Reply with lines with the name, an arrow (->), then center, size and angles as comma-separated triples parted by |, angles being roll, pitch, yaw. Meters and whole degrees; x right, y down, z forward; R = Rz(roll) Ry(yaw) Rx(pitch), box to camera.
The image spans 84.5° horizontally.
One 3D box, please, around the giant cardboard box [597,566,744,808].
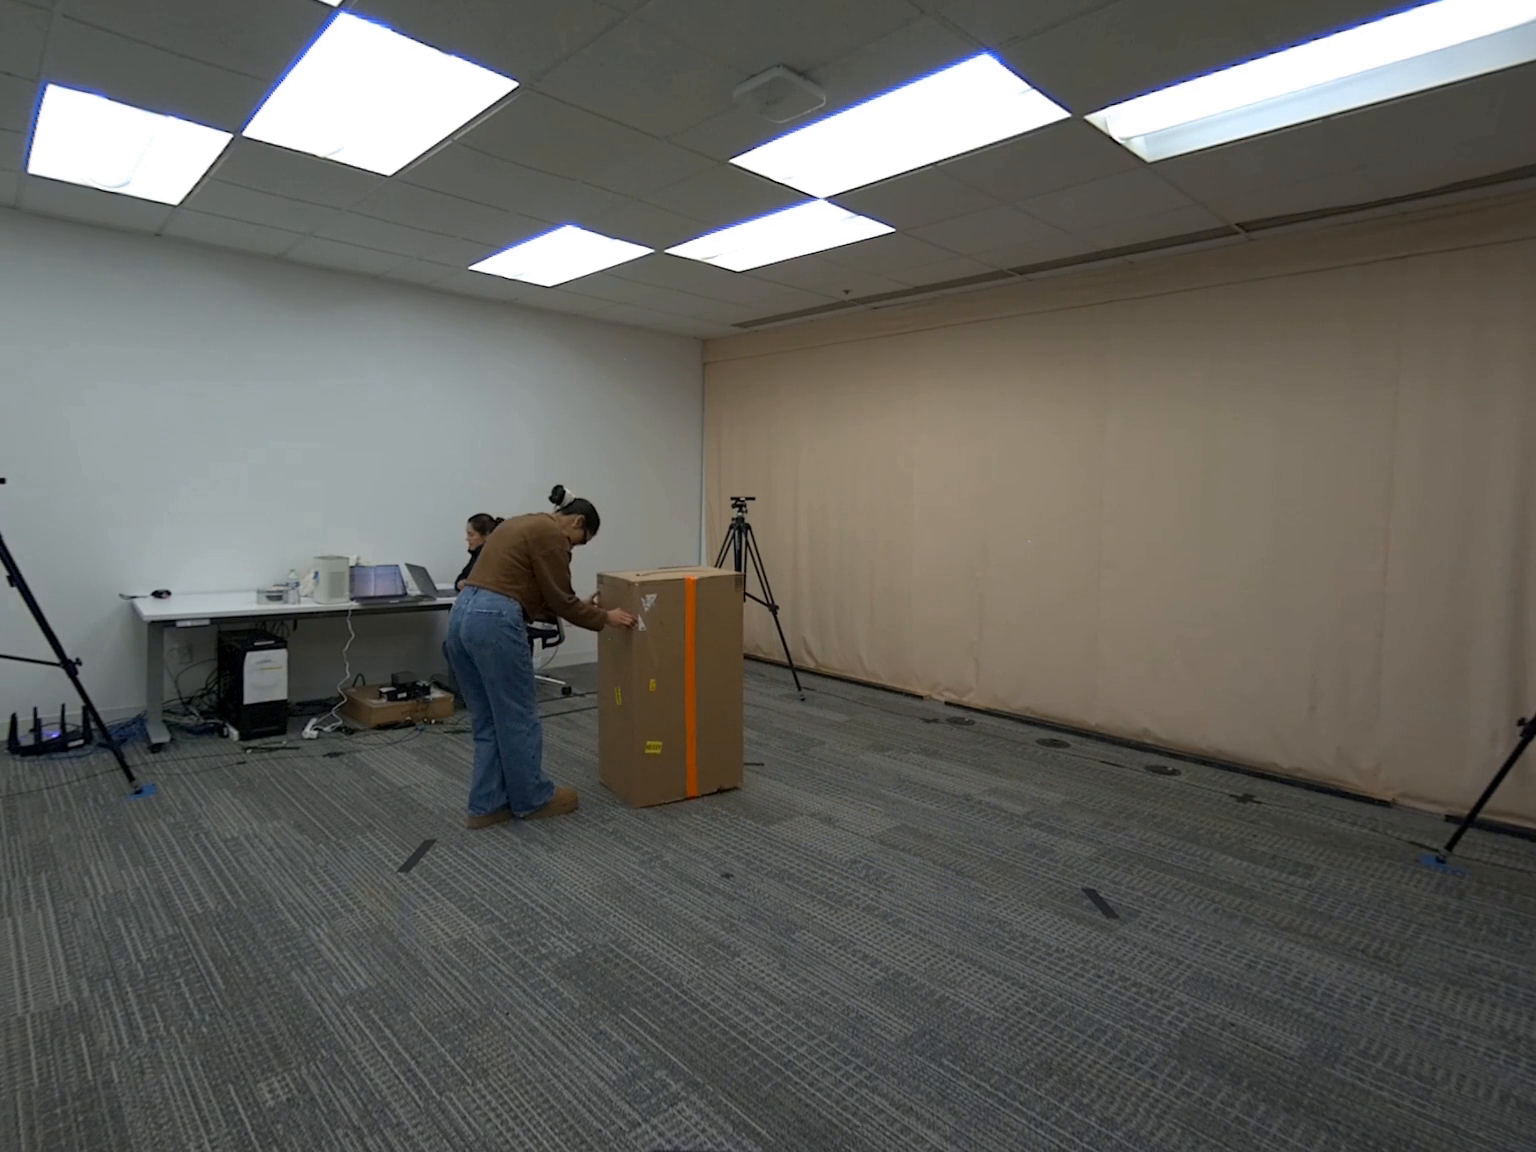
giant cardboard box -> -0.479, 0.498, 4.035 | 0.566, 1.022, 0.436 | -3, 5, -32
